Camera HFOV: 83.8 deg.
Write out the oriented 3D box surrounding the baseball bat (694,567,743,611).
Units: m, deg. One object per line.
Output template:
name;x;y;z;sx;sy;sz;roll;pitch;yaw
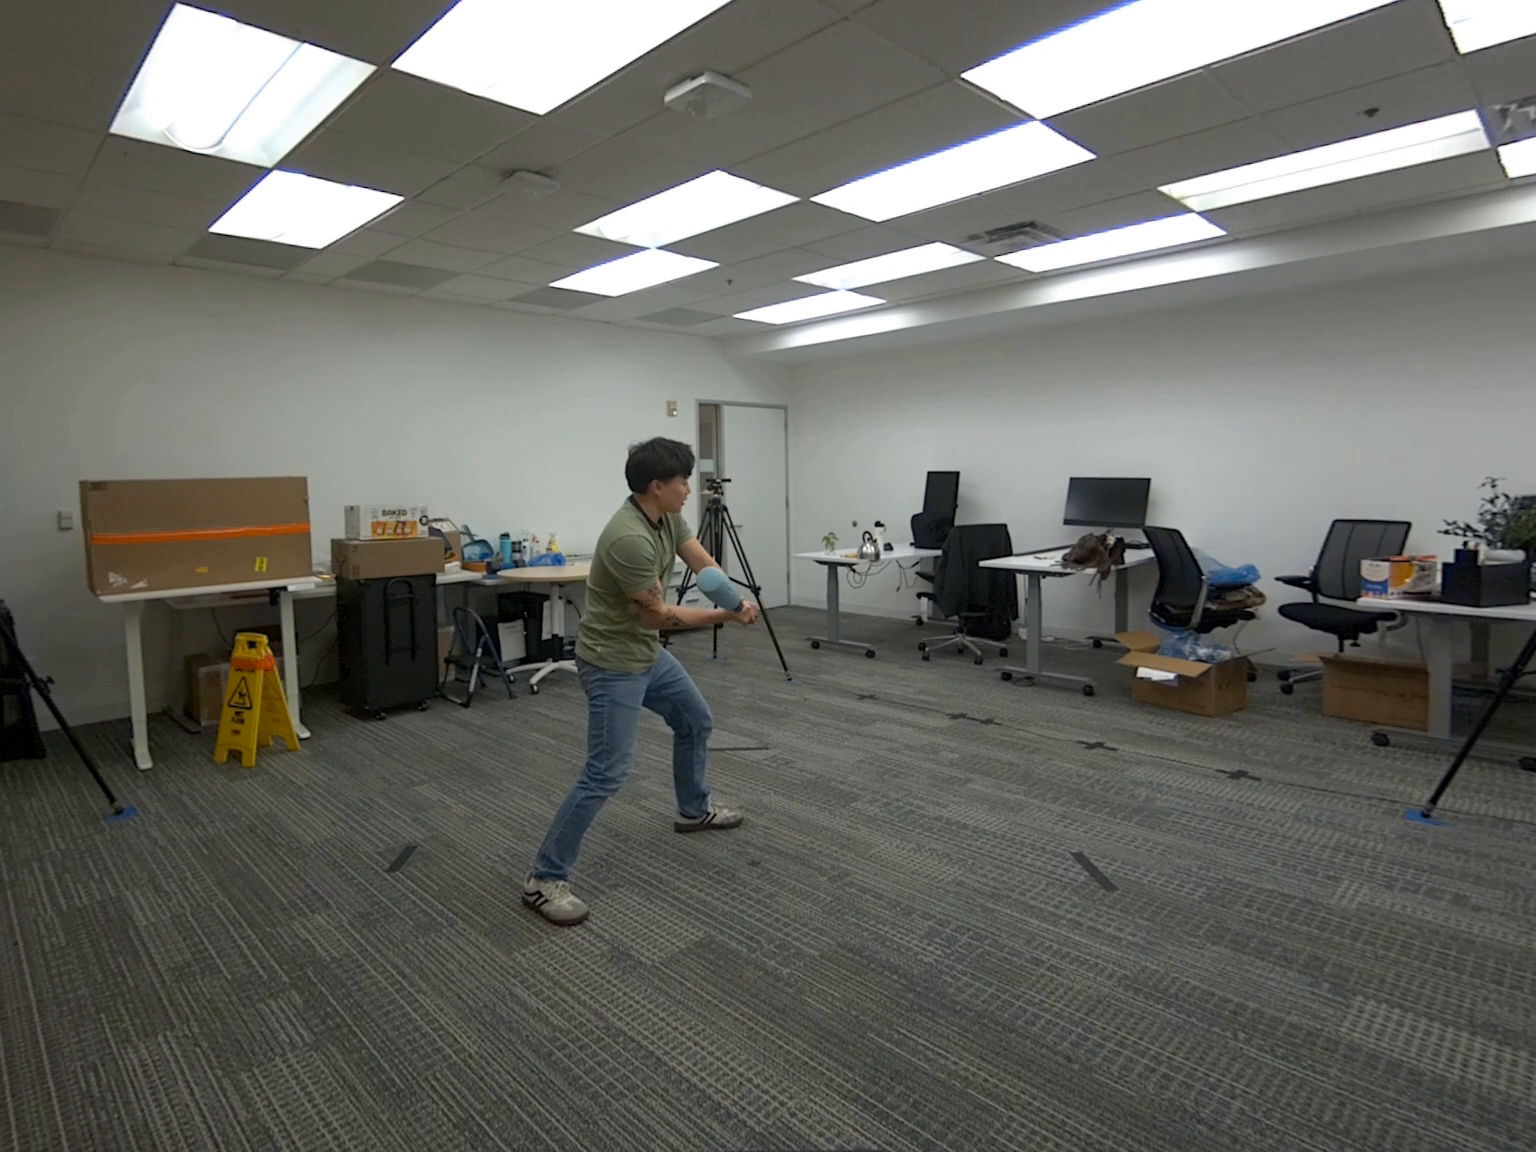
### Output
baseball bat;-0.122;0.077;2.762;0.090;0.090;0.529;1;-15;12
